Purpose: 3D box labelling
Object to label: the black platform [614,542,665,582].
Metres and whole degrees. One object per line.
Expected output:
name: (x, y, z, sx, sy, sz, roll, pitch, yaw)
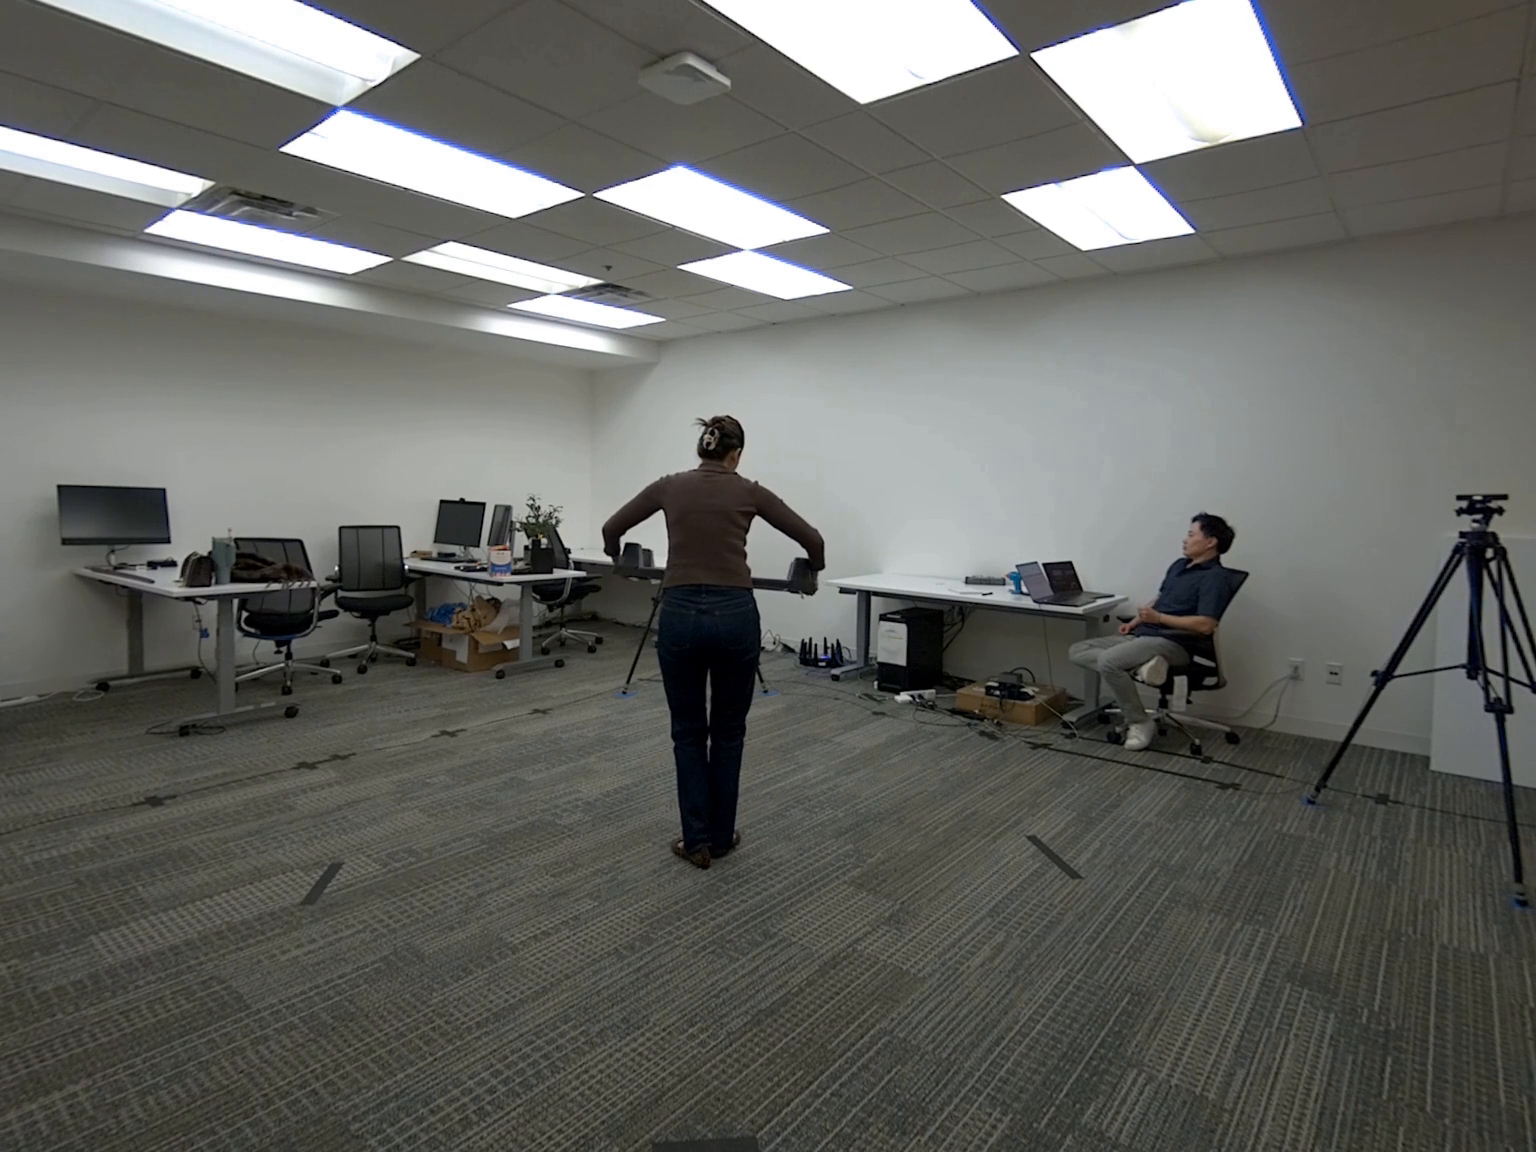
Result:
black platform: (-0.219, -0.030, 3.600, 0.808, 0.143, 0.602, 4, -1, 2)
